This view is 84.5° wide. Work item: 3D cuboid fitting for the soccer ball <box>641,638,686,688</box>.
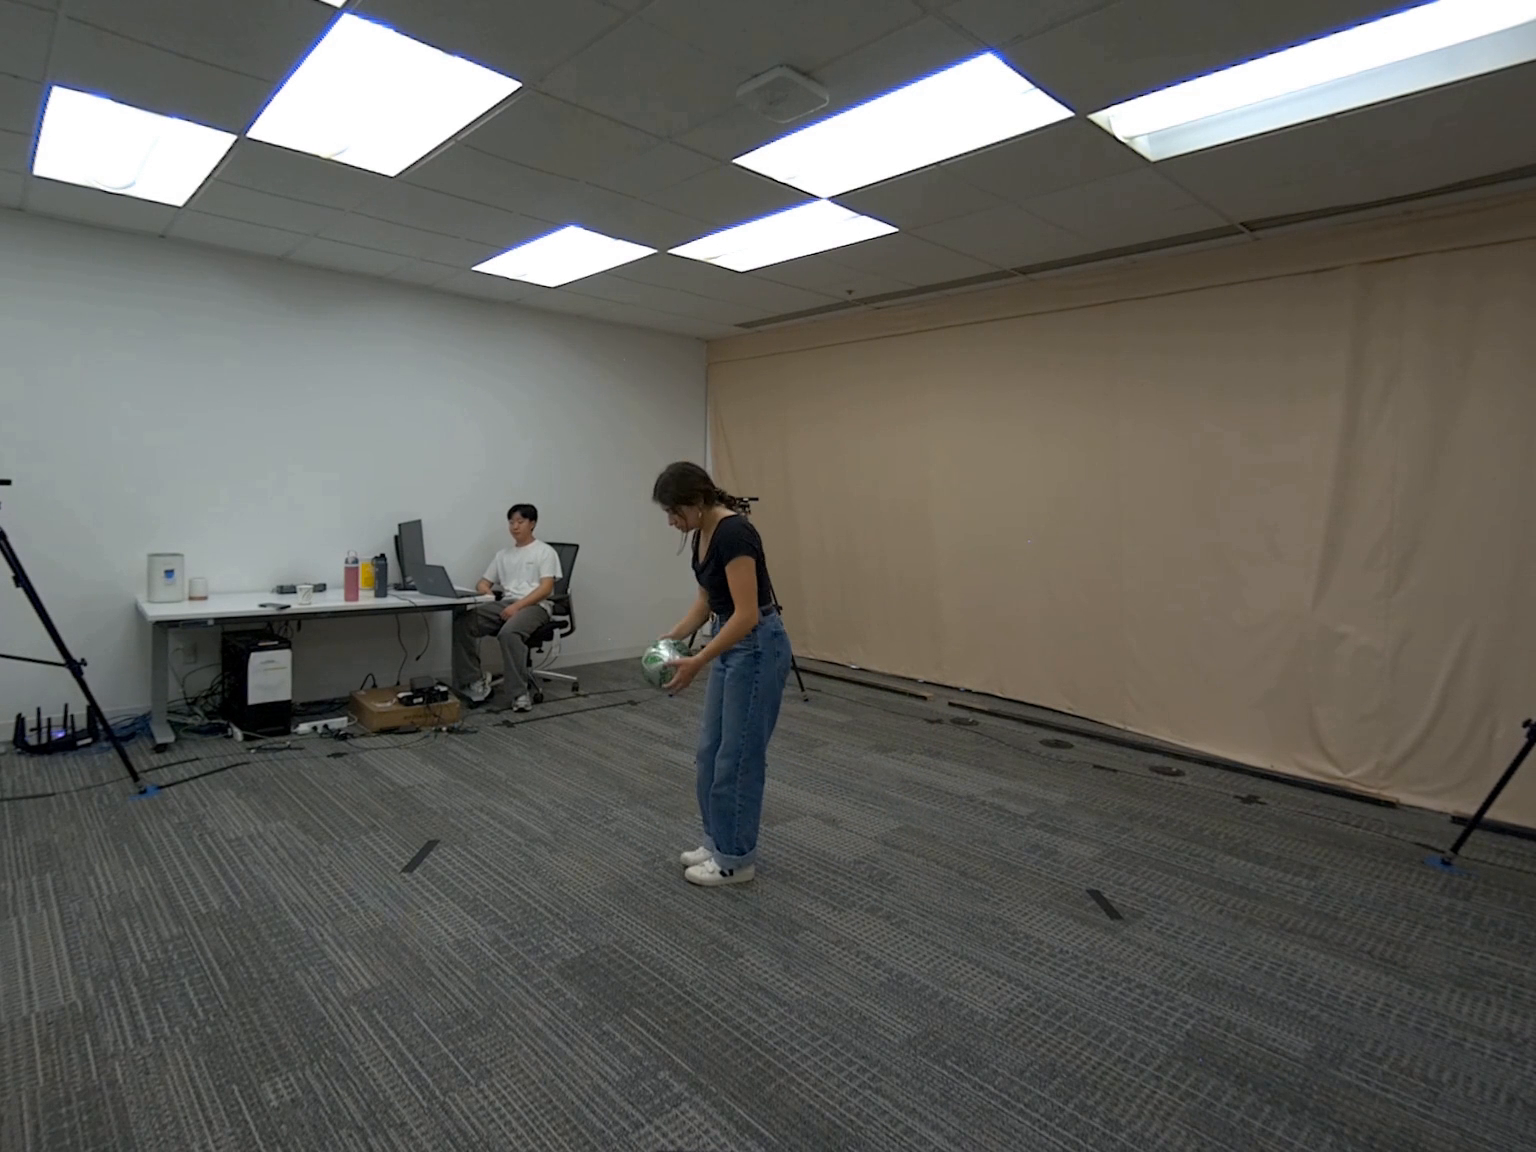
[{"bbox_3d":[-0.359,0.315,2.935,0.187,0.187,0.188,1,4,-1],"label":"soccer ball"}]
